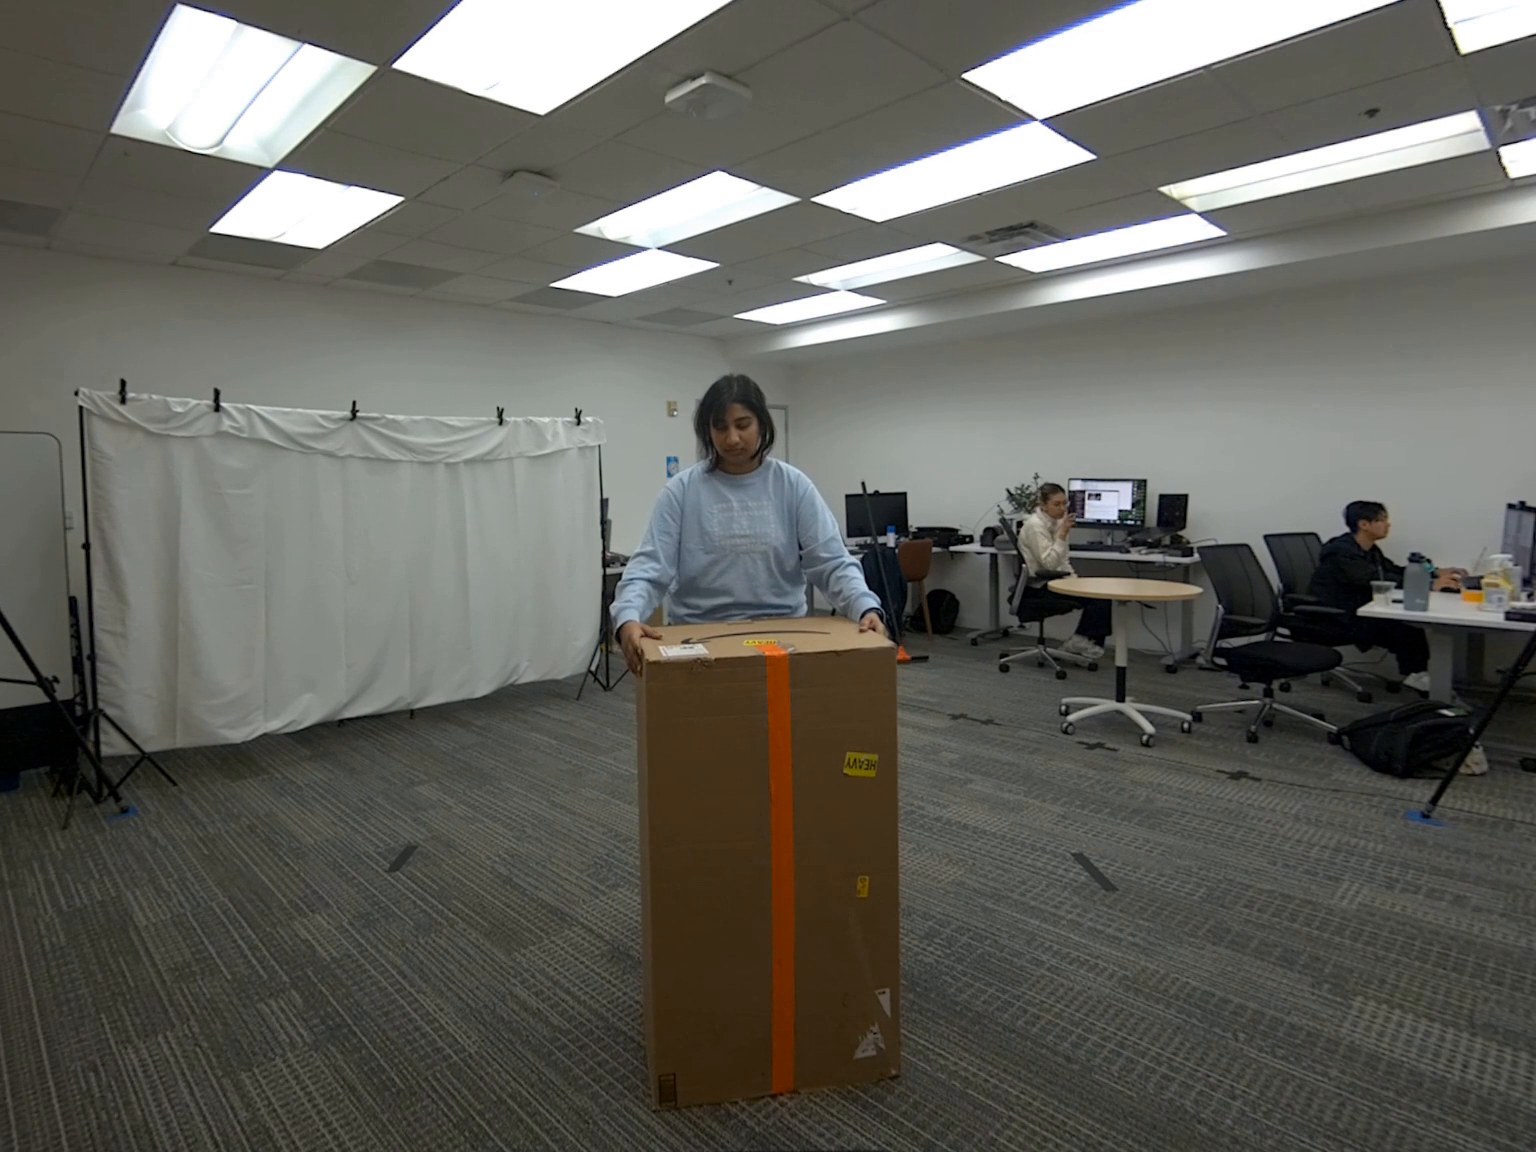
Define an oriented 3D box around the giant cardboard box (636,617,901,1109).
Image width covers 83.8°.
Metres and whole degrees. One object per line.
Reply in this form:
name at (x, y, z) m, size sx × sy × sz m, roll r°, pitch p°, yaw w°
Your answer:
giant cardboard box at (-0.022, 0.655, 2.114) m, size 0.572 × 1.022 × 0.432 m, roll -2°, pitch 4°, yaw -11°
